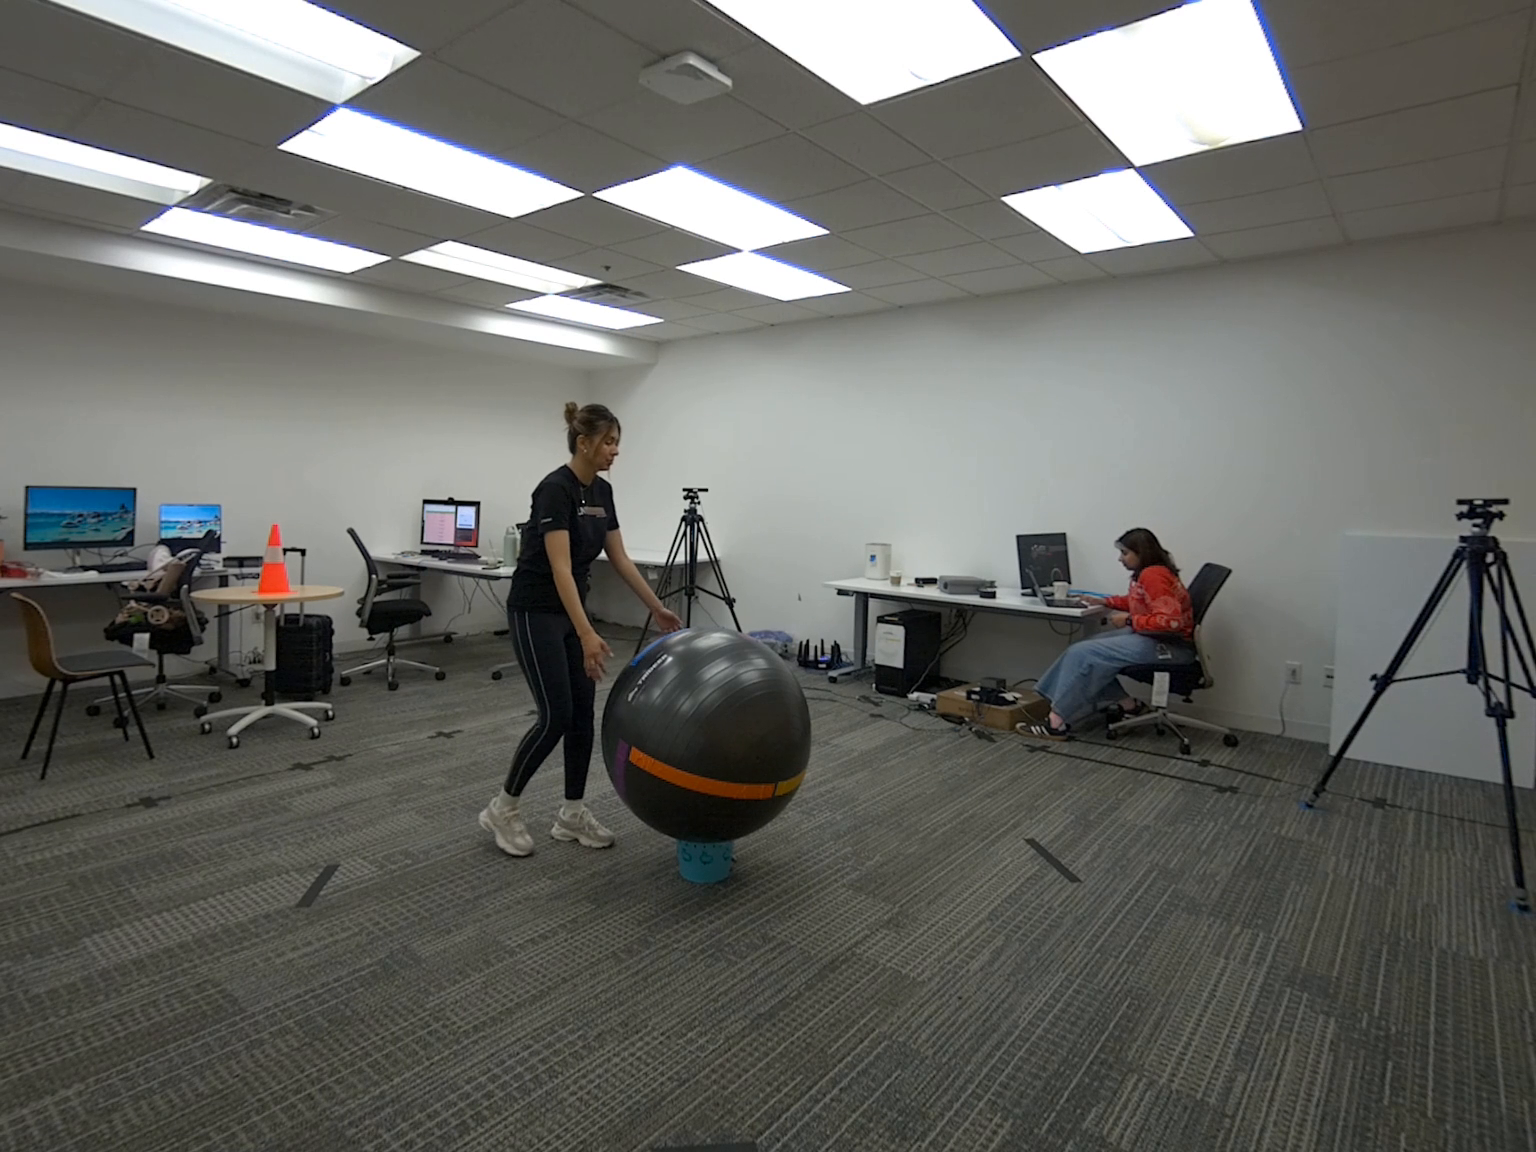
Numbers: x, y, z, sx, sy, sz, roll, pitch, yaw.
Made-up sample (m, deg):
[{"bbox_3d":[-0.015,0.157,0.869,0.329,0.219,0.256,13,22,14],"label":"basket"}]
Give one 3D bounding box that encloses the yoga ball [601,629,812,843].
[{"bbox_3d":[-0.229,0.564,3.065,0.757,0.755,0.762,1,4,-2],"label":"yoga ball"}]
